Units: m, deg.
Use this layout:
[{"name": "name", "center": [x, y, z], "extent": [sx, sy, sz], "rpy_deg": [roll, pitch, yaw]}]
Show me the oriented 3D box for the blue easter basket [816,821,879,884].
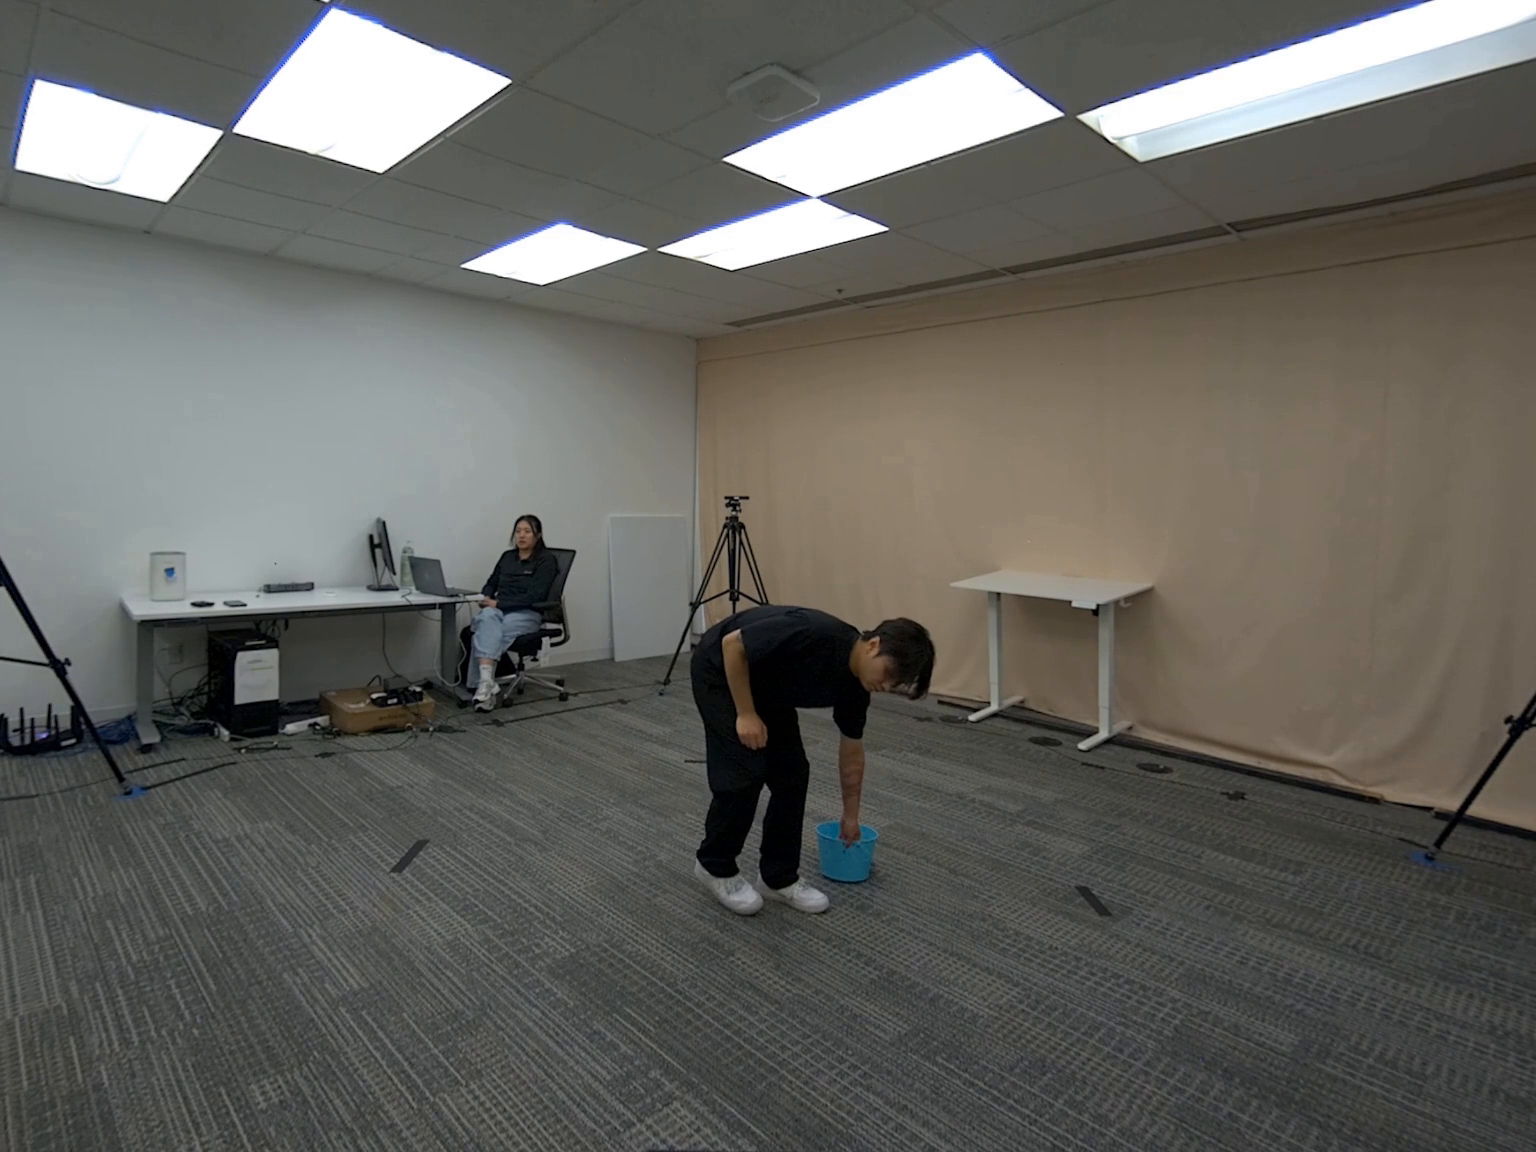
[{"name": "blue easter basket", "center": [0.277, 1.027, 3.136], "extent": [0.243, 0.156, 0.244], "rpy_deg": [3, 1, -1]}]
